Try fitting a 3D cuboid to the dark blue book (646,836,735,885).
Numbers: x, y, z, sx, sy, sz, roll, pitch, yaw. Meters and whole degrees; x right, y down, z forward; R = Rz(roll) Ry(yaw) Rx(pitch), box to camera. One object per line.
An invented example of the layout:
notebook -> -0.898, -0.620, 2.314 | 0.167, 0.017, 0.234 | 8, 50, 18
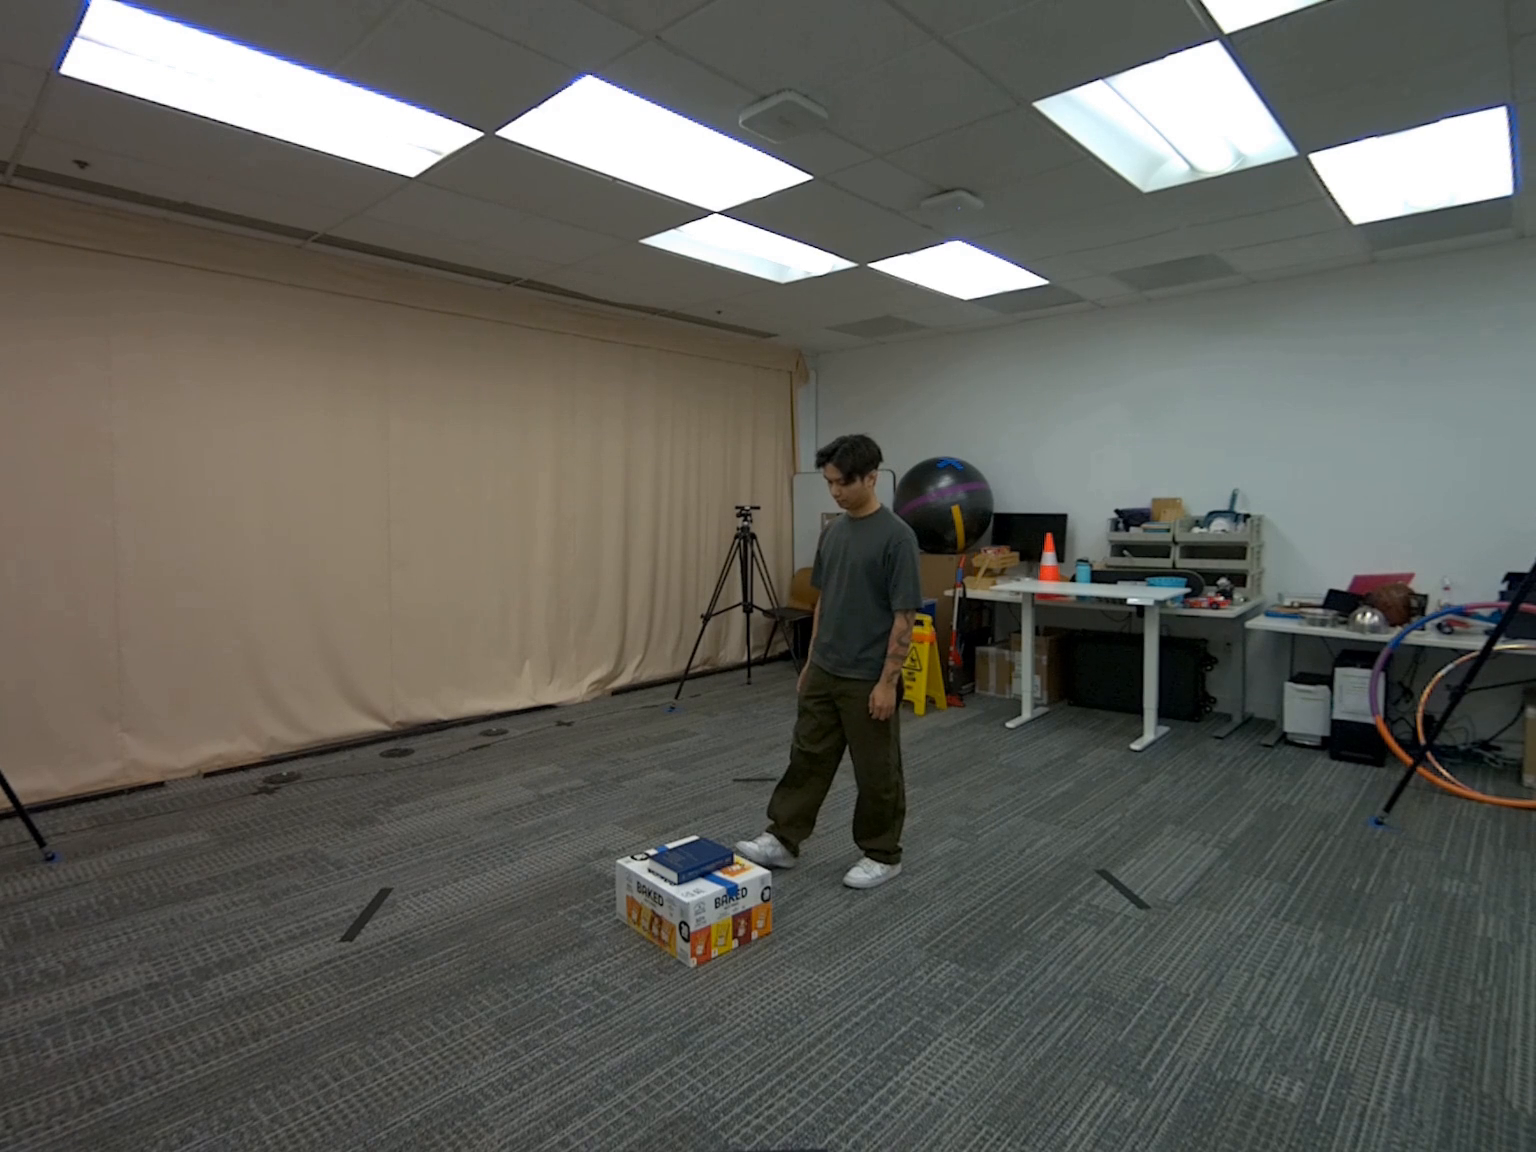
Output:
dark blue book -> -0.257, 0.950, 2.784 | 0.238, 0.045, 0.169 | -5, 7, -42
